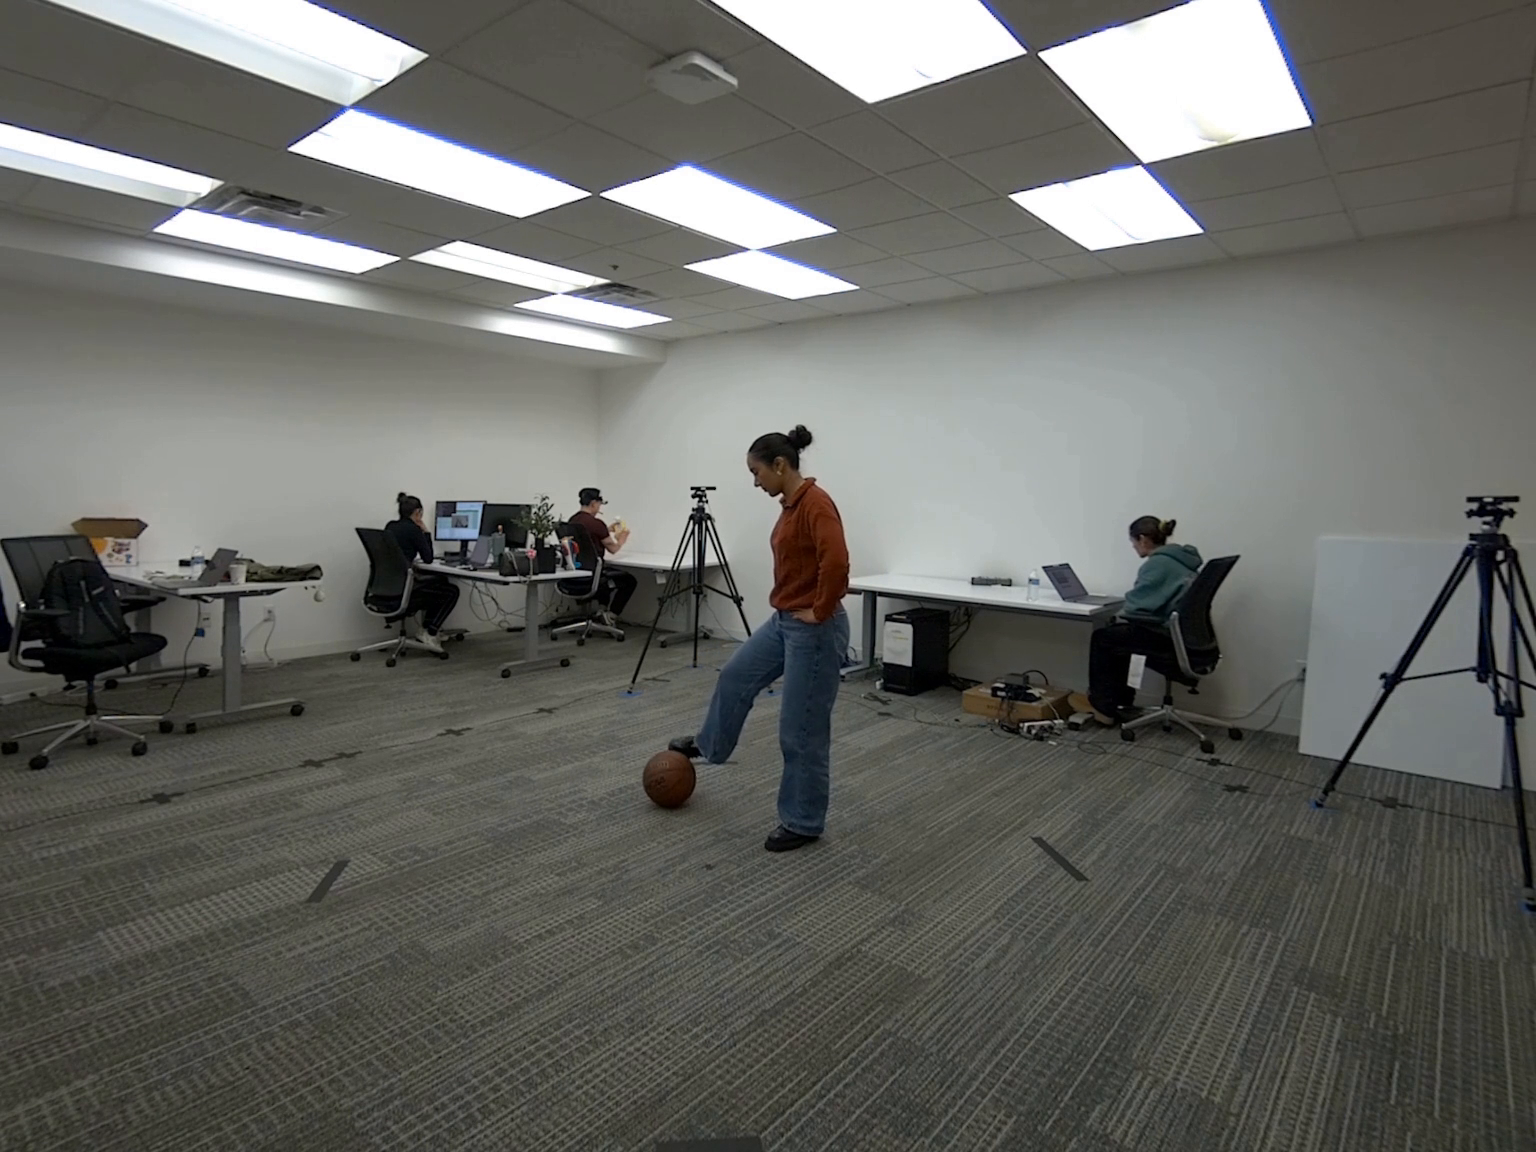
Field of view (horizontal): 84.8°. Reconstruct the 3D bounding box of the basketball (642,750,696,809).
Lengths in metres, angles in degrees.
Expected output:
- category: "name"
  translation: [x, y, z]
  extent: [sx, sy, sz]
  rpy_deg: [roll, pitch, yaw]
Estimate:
- category: "basketball"
  translation: [-0.438, 0.880, 3.719]
  extent: [0.235, 0.235, 0.237]
  rpy_deg: [1, 4, -2]
